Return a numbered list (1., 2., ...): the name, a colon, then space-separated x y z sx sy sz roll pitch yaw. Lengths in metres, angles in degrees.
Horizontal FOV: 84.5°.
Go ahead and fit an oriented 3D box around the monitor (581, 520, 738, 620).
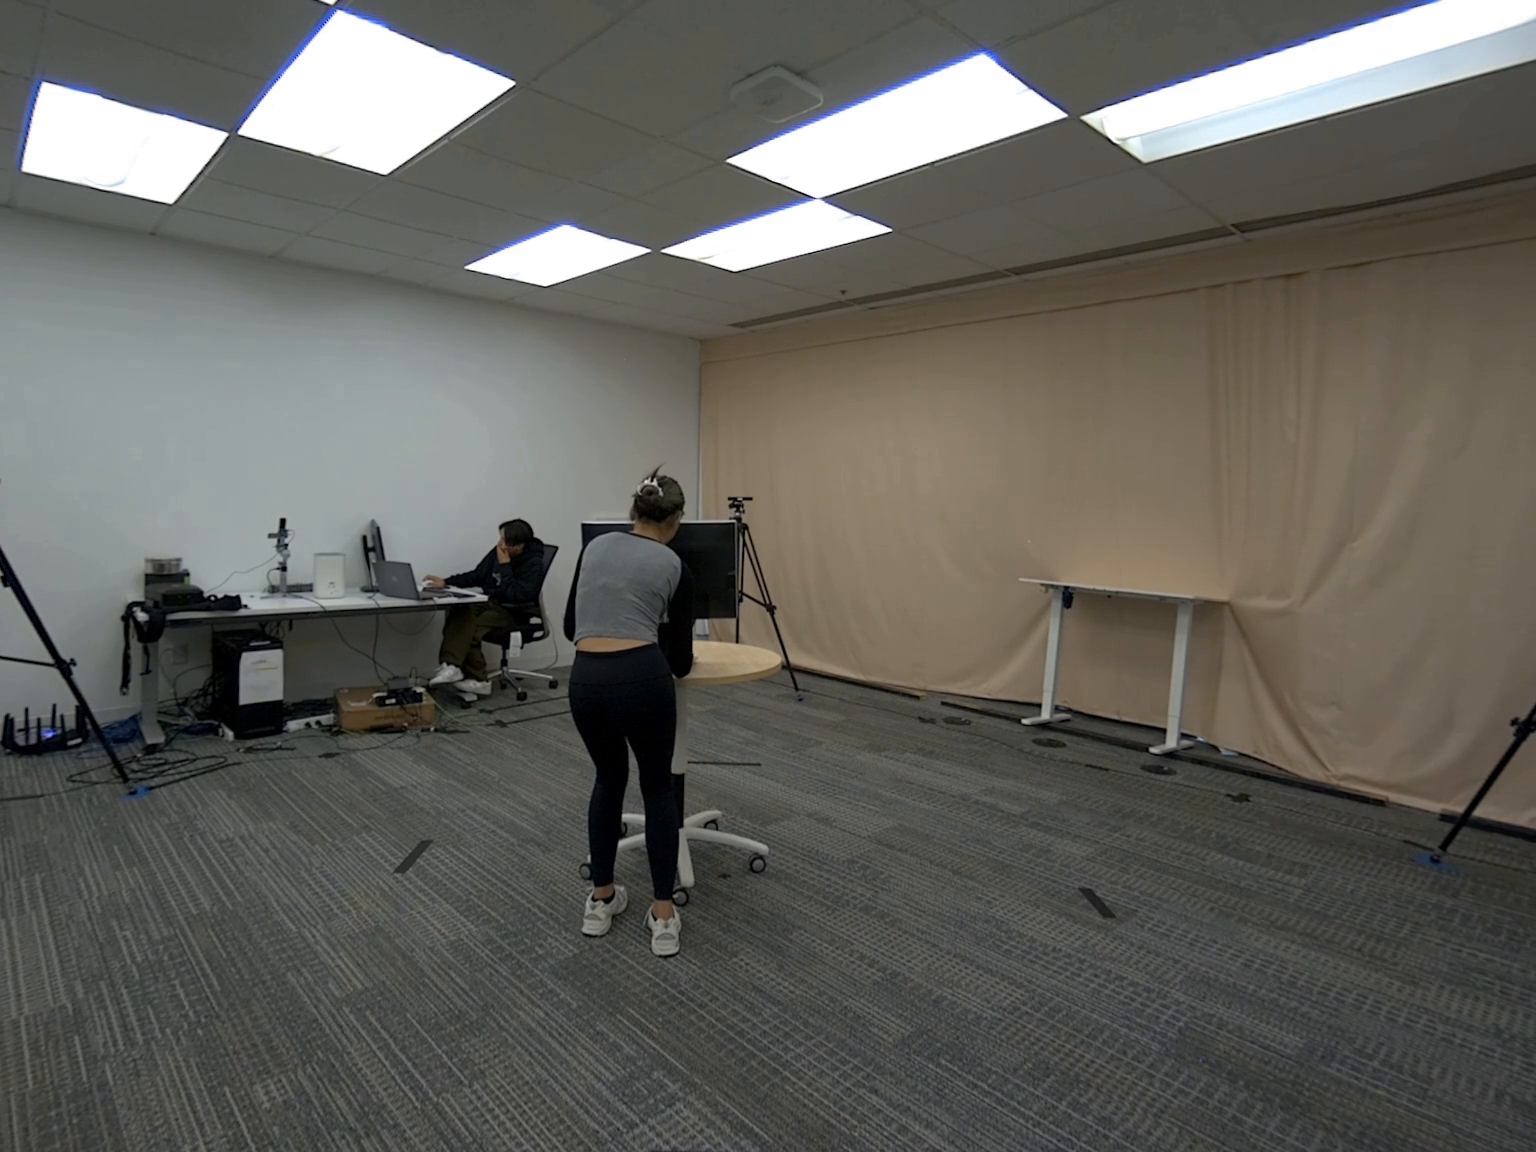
1. monitor: -0.385 0.067 2.994 0.539 0.523 0.187 -1 0 0
